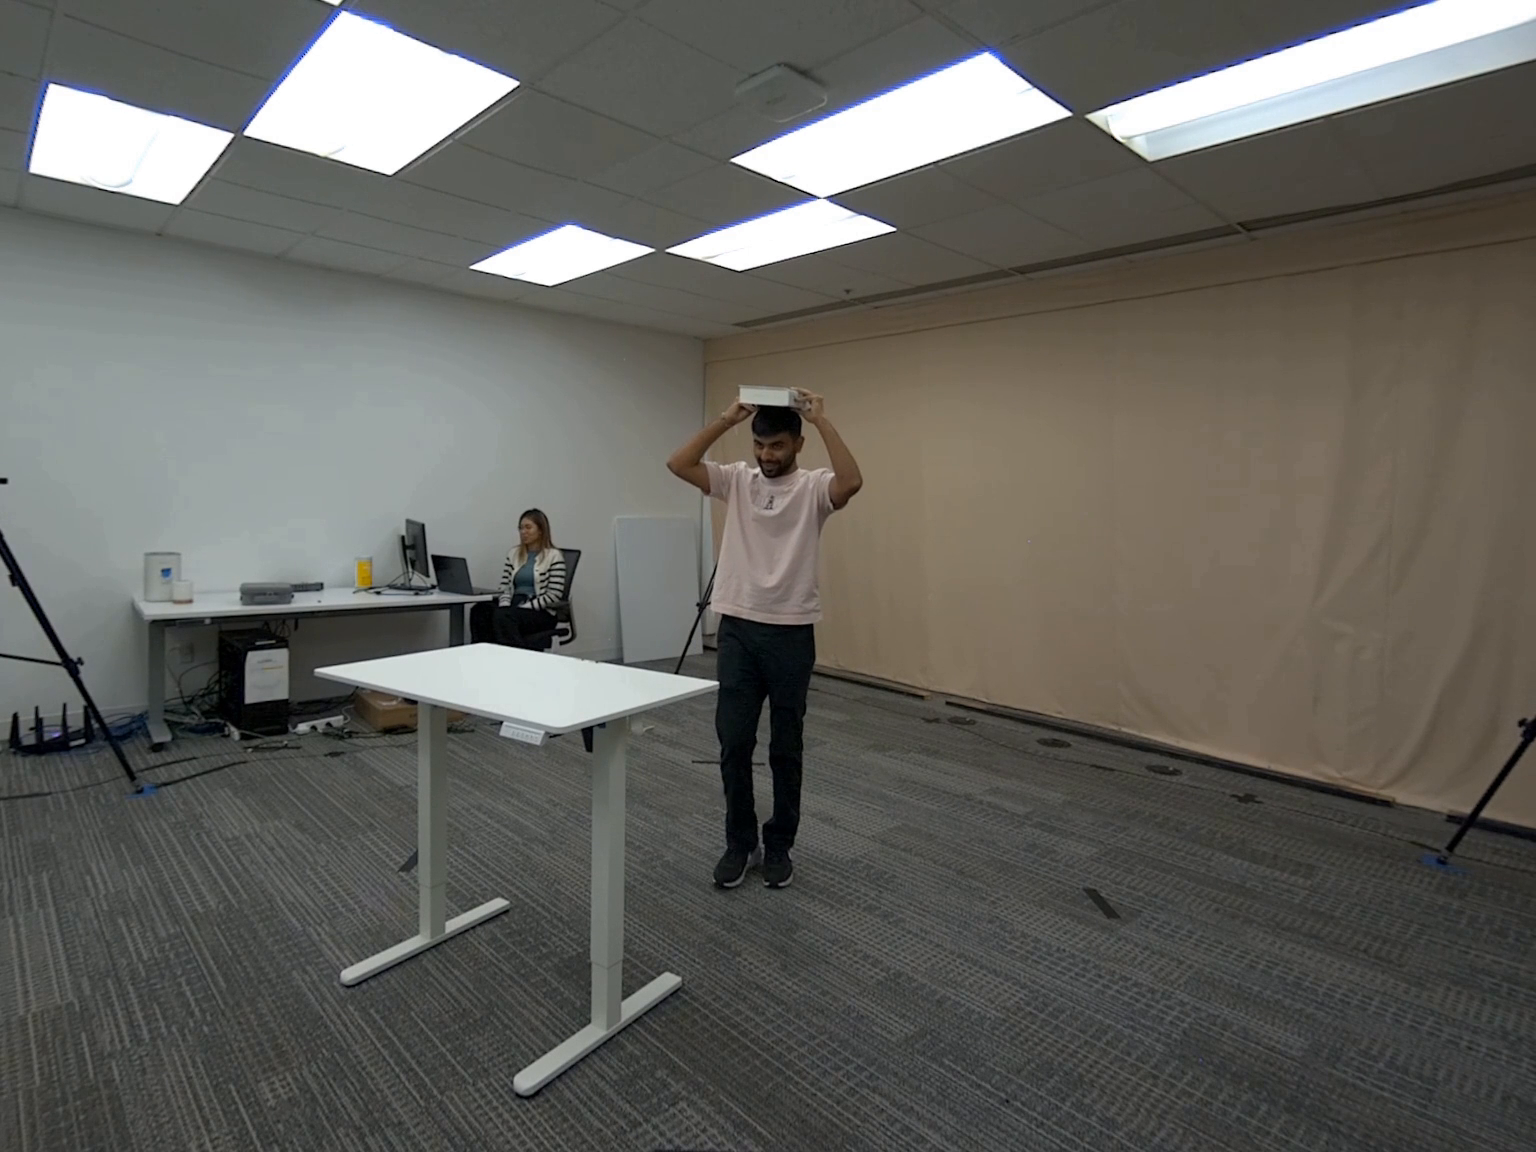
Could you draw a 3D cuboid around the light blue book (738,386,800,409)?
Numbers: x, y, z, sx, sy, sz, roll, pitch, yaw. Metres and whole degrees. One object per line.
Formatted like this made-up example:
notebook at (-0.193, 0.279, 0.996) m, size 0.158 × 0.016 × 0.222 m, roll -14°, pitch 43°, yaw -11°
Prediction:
light blue book at (0.035, -0.624, 2.978) m, size 0.194 × 0.059 × 0.258 m, roll 9°, pitch 10°, yaw 17°
